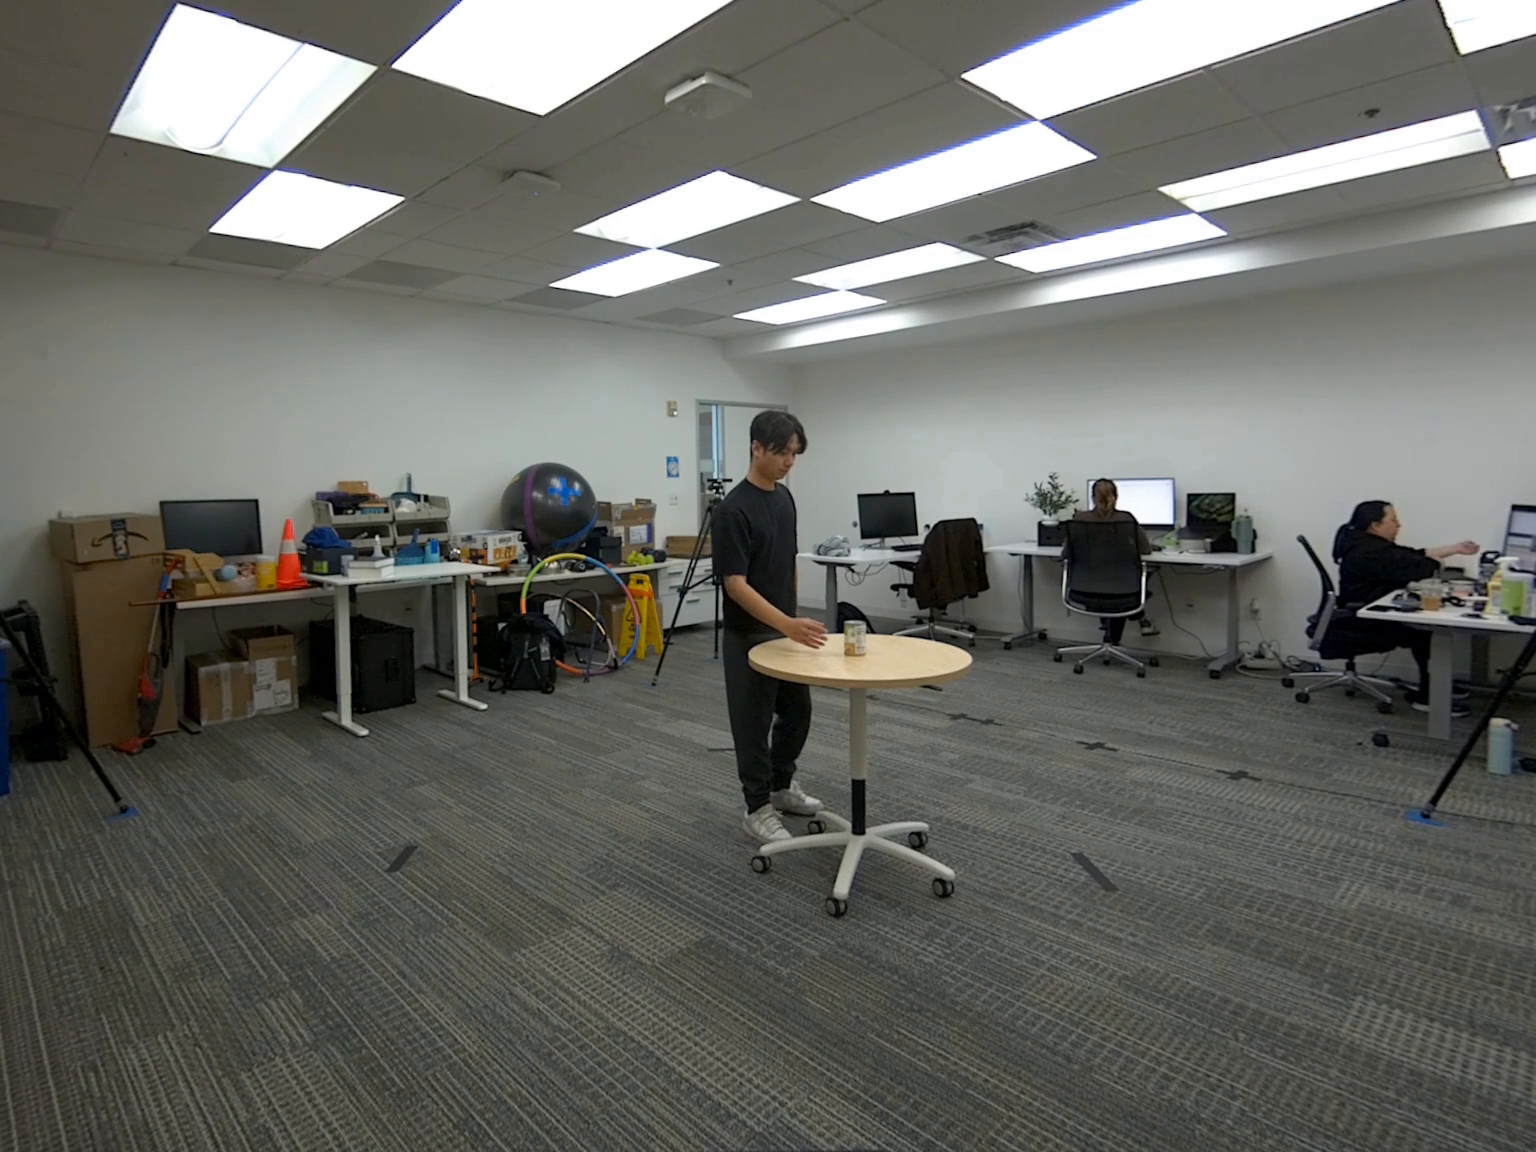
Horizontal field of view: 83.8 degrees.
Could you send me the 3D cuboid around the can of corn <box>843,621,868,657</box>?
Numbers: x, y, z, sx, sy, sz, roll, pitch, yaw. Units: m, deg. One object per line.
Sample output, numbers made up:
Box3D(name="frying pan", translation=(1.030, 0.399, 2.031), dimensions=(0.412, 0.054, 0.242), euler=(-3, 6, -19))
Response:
Box3D(name="can of corn", translation=(0.301, 0.217, 2.970), dimensions=(0.074, 0.110, 0.075), euler=(-2, 7, -1))
